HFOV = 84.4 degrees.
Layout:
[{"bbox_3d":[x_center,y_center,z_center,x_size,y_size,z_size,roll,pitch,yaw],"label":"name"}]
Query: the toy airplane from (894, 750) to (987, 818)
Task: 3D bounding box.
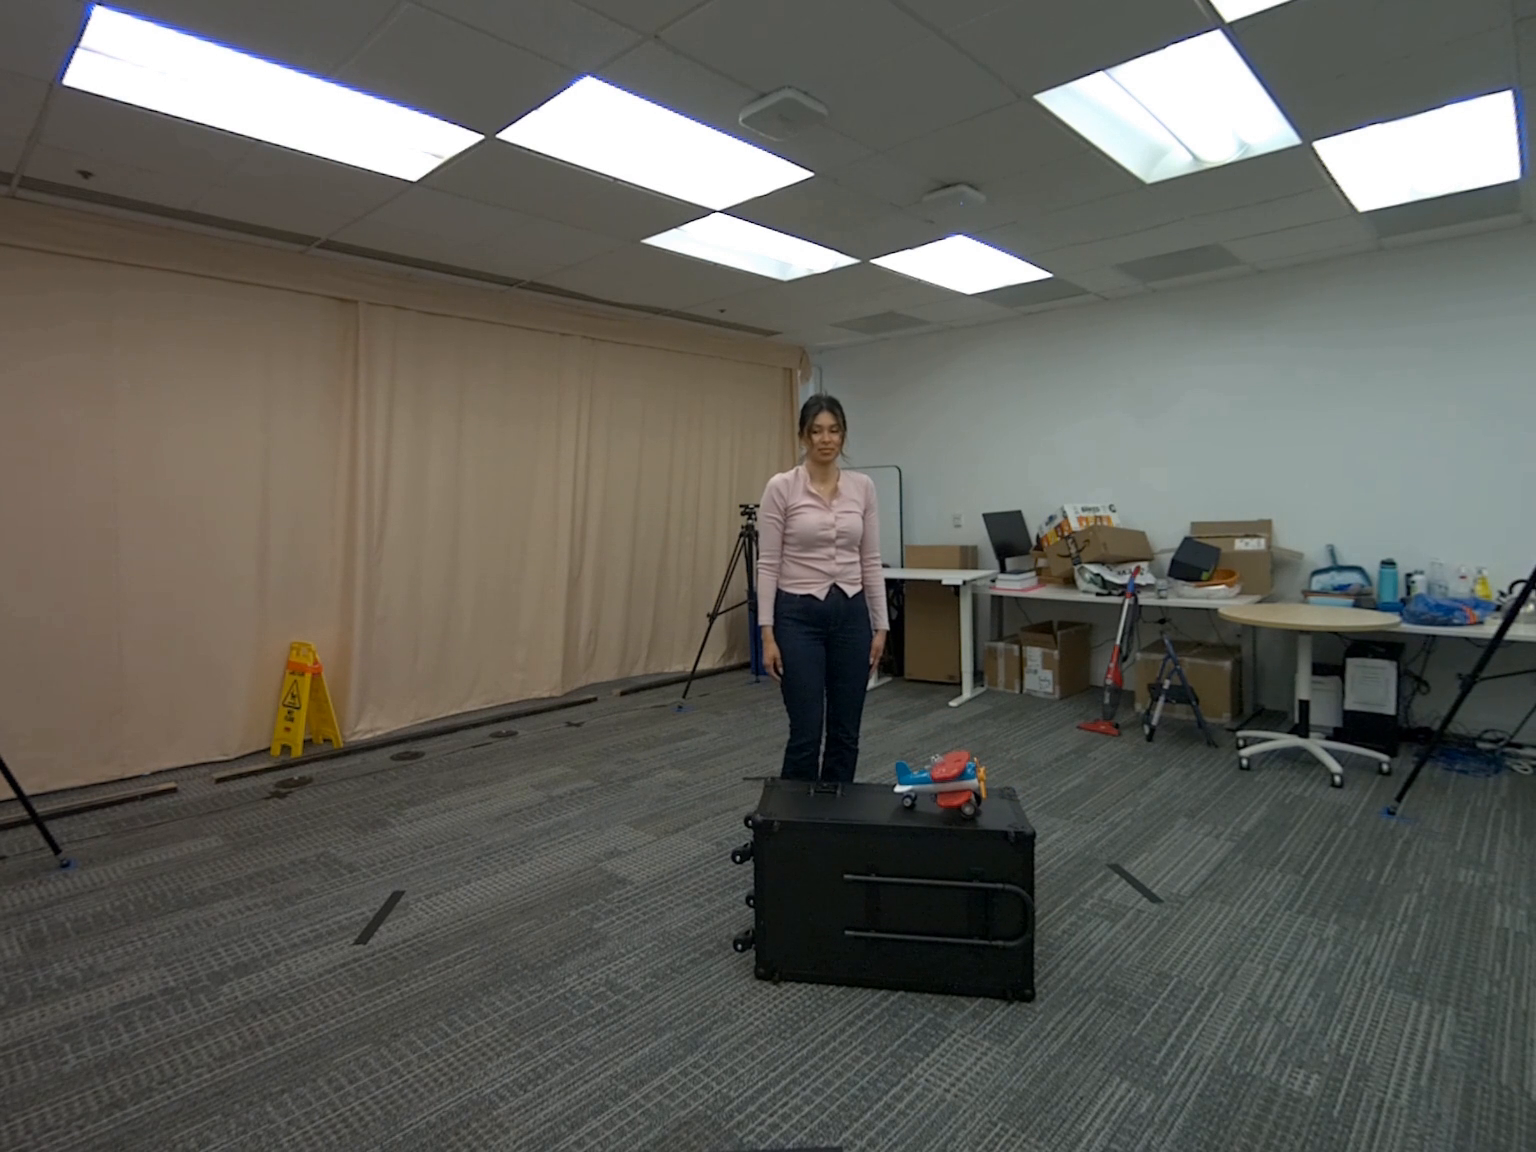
[{"bbox_3d":[0.516,0.616,2.465,0.257,0.156,0.253,0,4,-7],"label":"toy airplane"}]
